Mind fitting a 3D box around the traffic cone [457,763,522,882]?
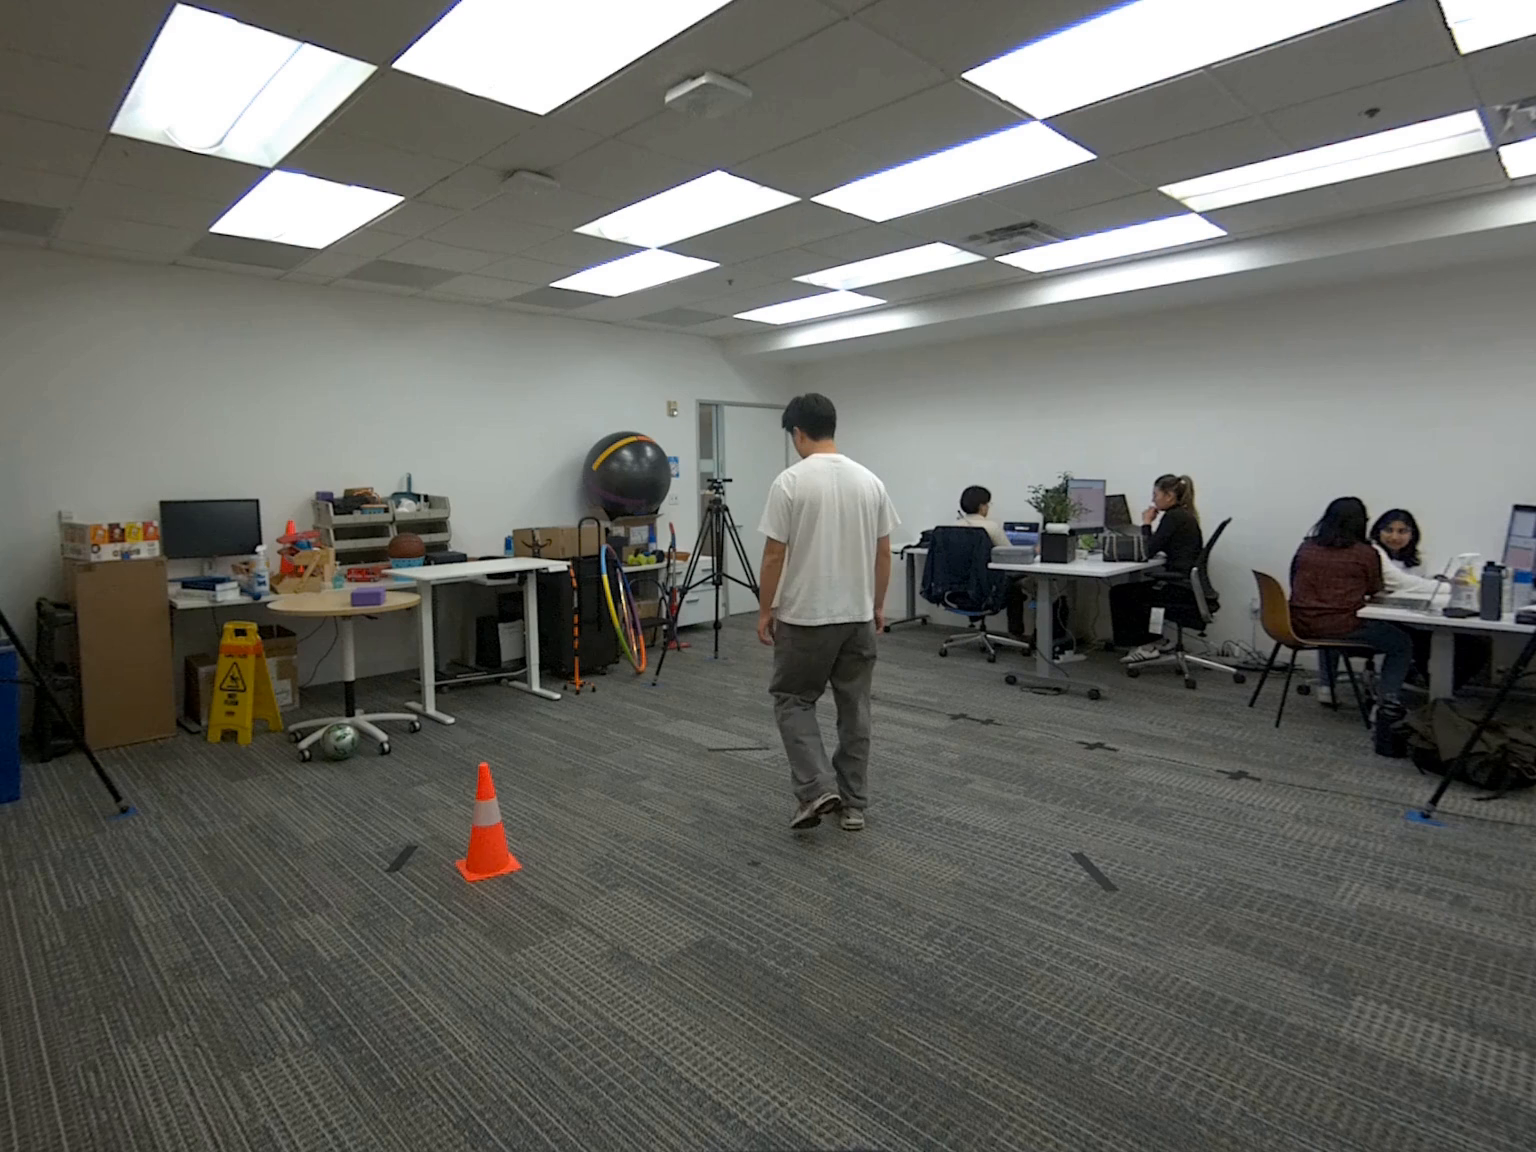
[{"bbox_3d":[-1.039,0.880,3.126,0.200,0.382,0.209,-6,7,-36],"label":"traffic cone"}]
